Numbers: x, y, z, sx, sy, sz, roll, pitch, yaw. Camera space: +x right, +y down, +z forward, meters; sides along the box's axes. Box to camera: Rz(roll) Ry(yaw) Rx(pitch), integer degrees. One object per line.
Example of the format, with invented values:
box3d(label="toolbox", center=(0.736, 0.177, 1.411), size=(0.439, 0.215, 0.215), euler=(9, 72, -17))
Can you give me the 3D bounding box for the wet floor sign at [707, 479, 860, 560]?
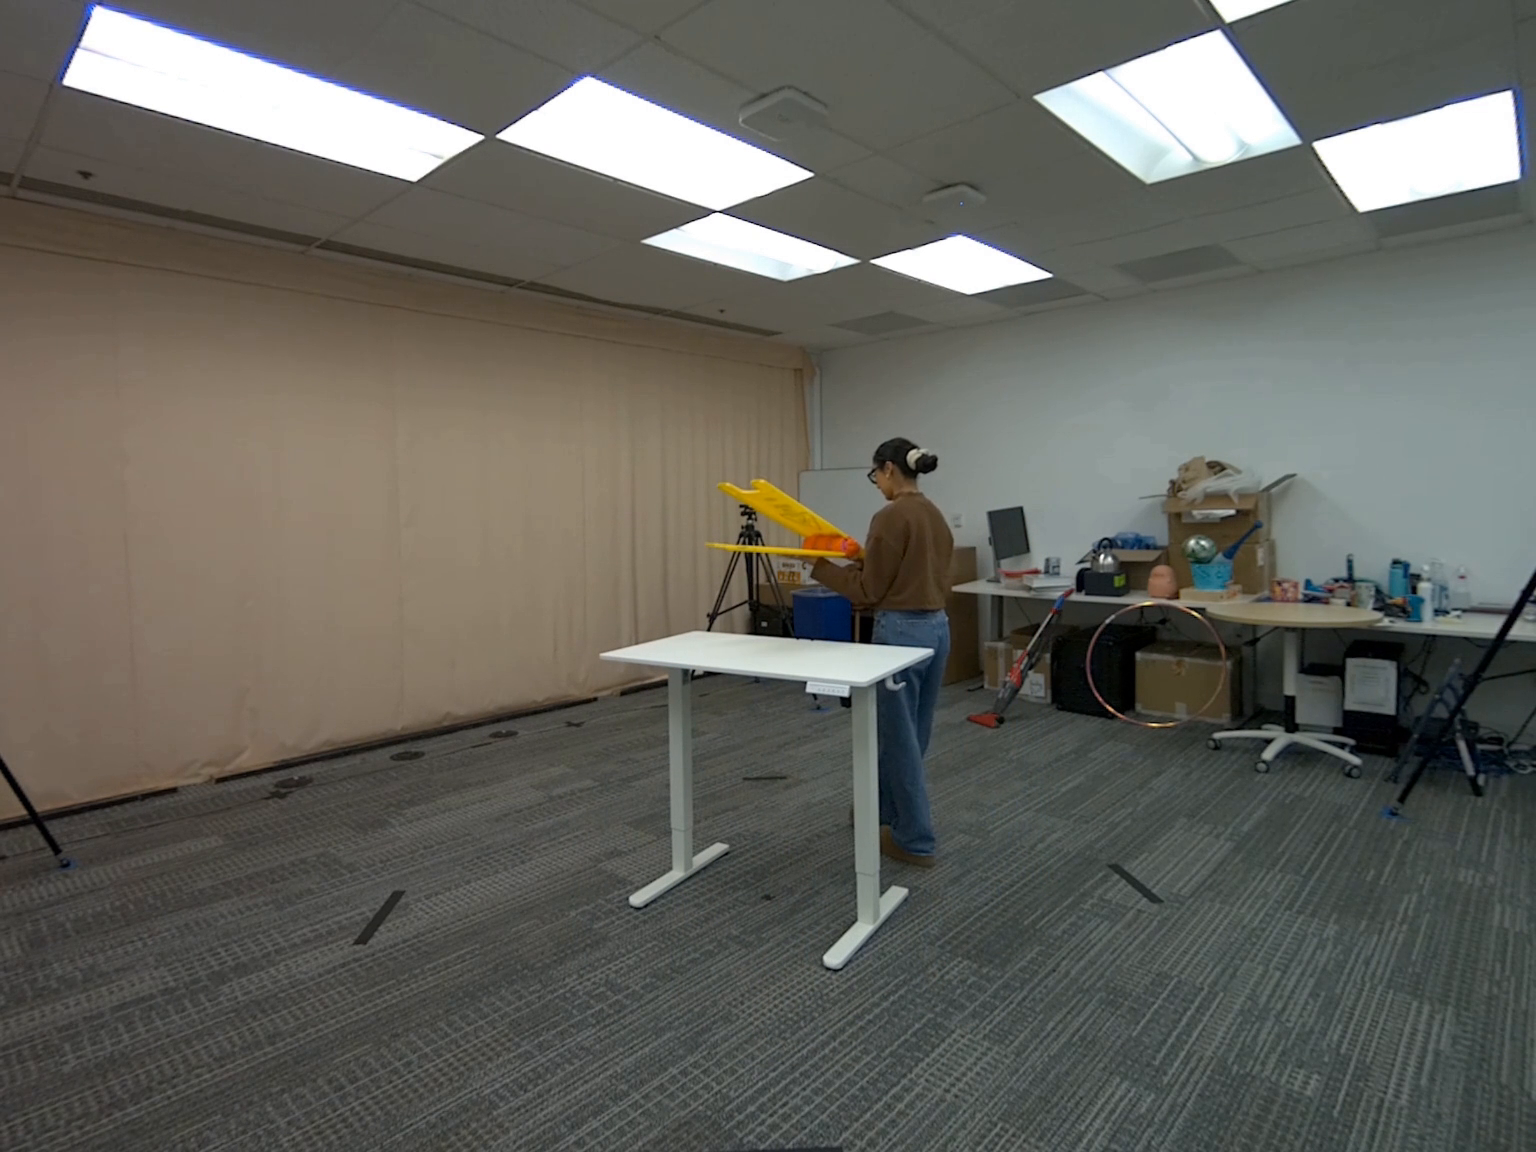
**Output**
box3d(label="wet floor sign", center=(0.115, -0.148, 3.271), size=(0.624, 0.290, 0.291), euler=(15, -8, -37))
